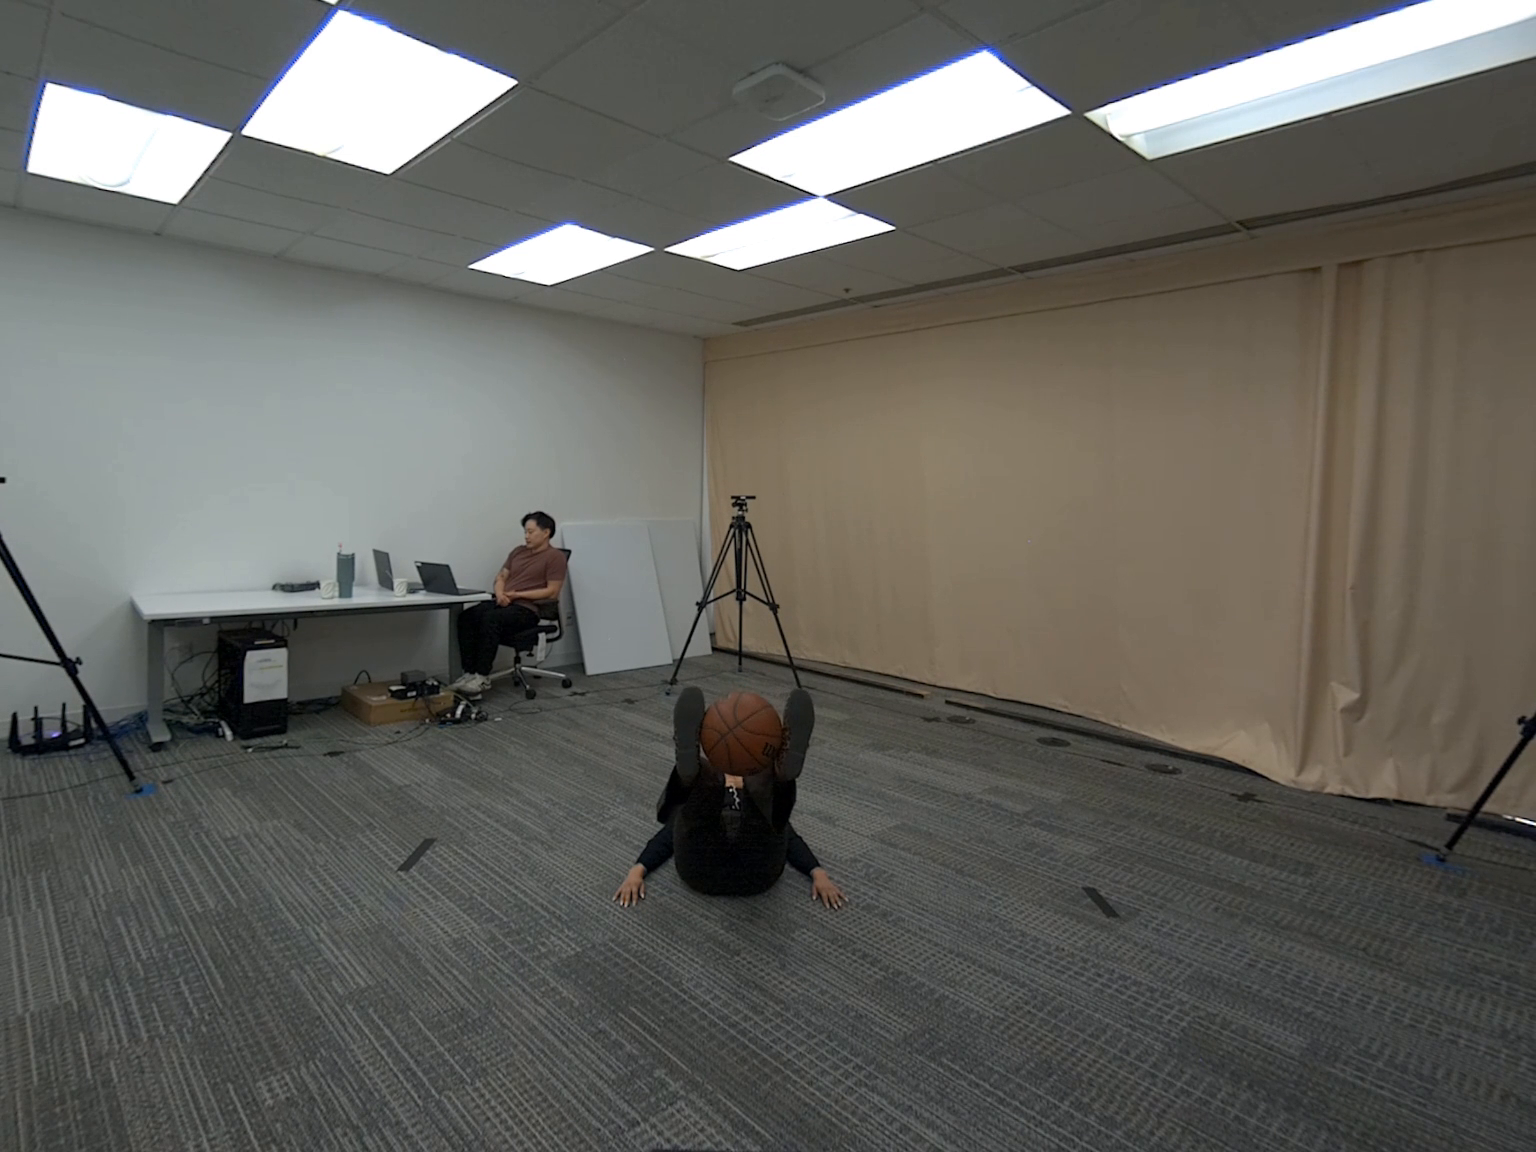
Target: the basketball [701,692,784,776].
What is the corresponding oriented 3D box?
[{"bbox_3d":[-0.084,0.445,2.383,0.235,0.235,0.237,4,5,-2],"label":"basketball"}]
